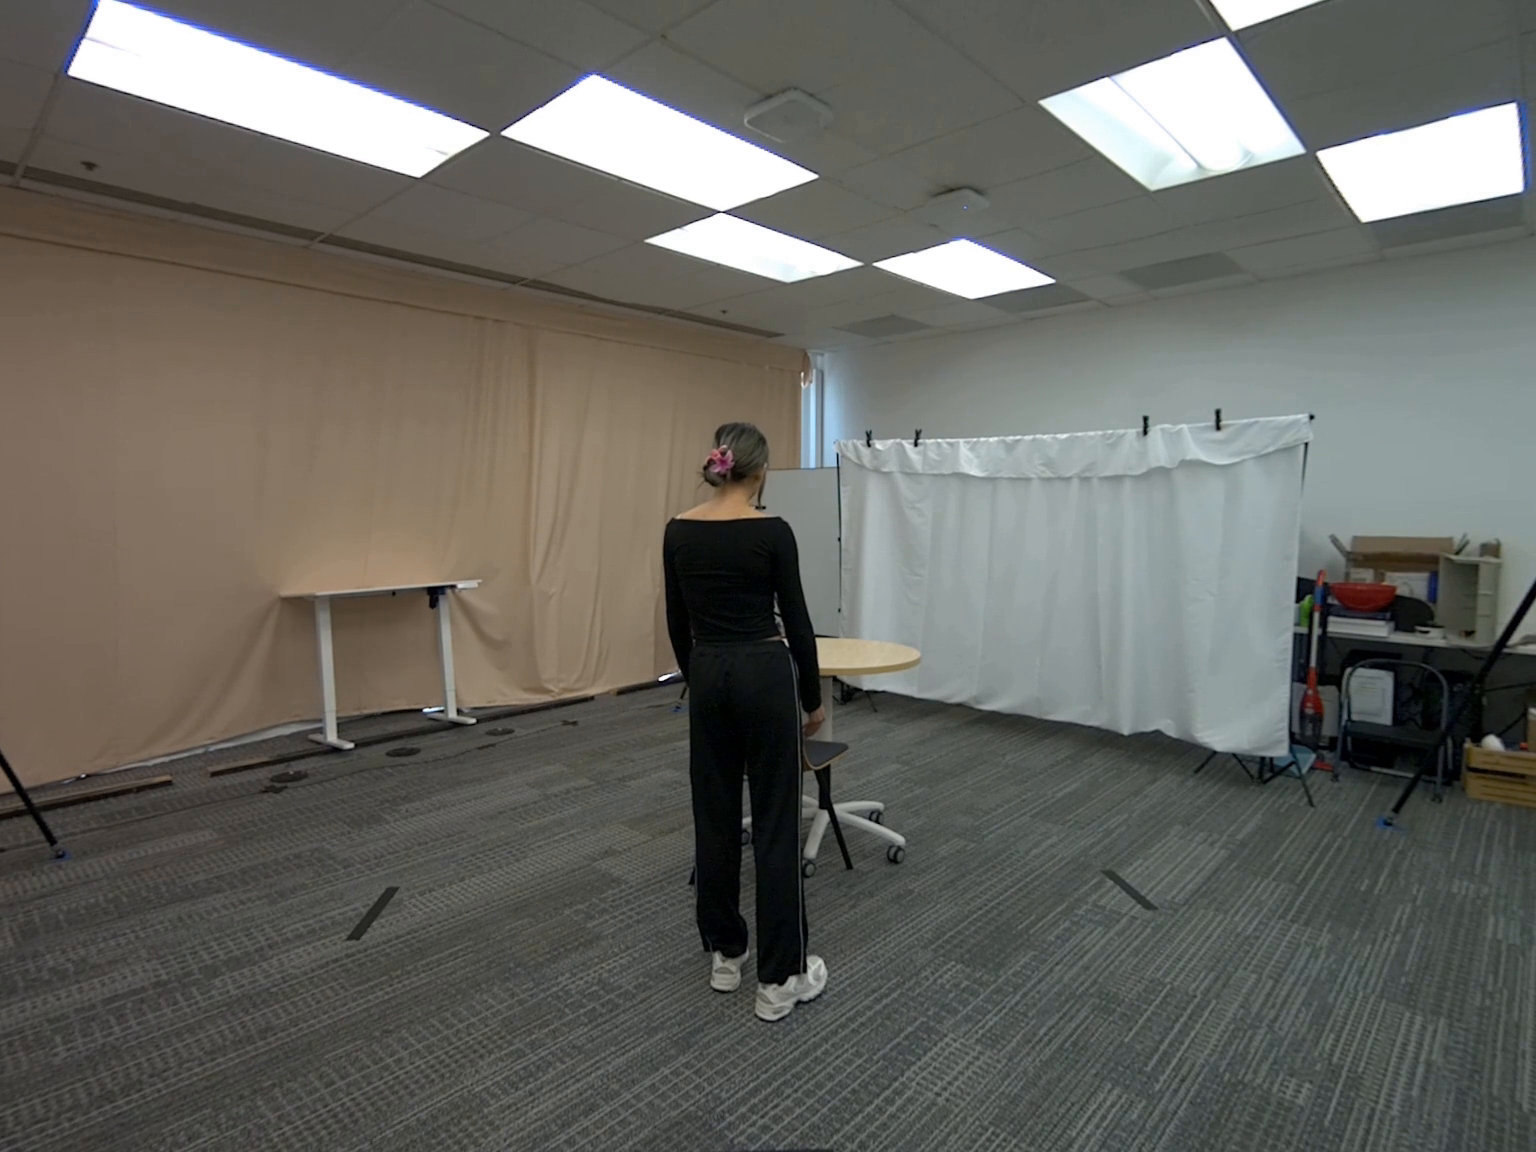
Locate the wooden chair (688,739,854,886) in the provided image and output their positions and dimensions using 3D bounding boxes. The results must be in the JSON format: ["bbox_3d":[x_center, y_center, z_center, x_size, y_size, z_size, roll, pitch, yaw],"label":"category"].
[{"bbox_3d":[0.015,0.697,3.135,0.492,0.873,0.510,1,8,33],"label":"wooden chair"}]
